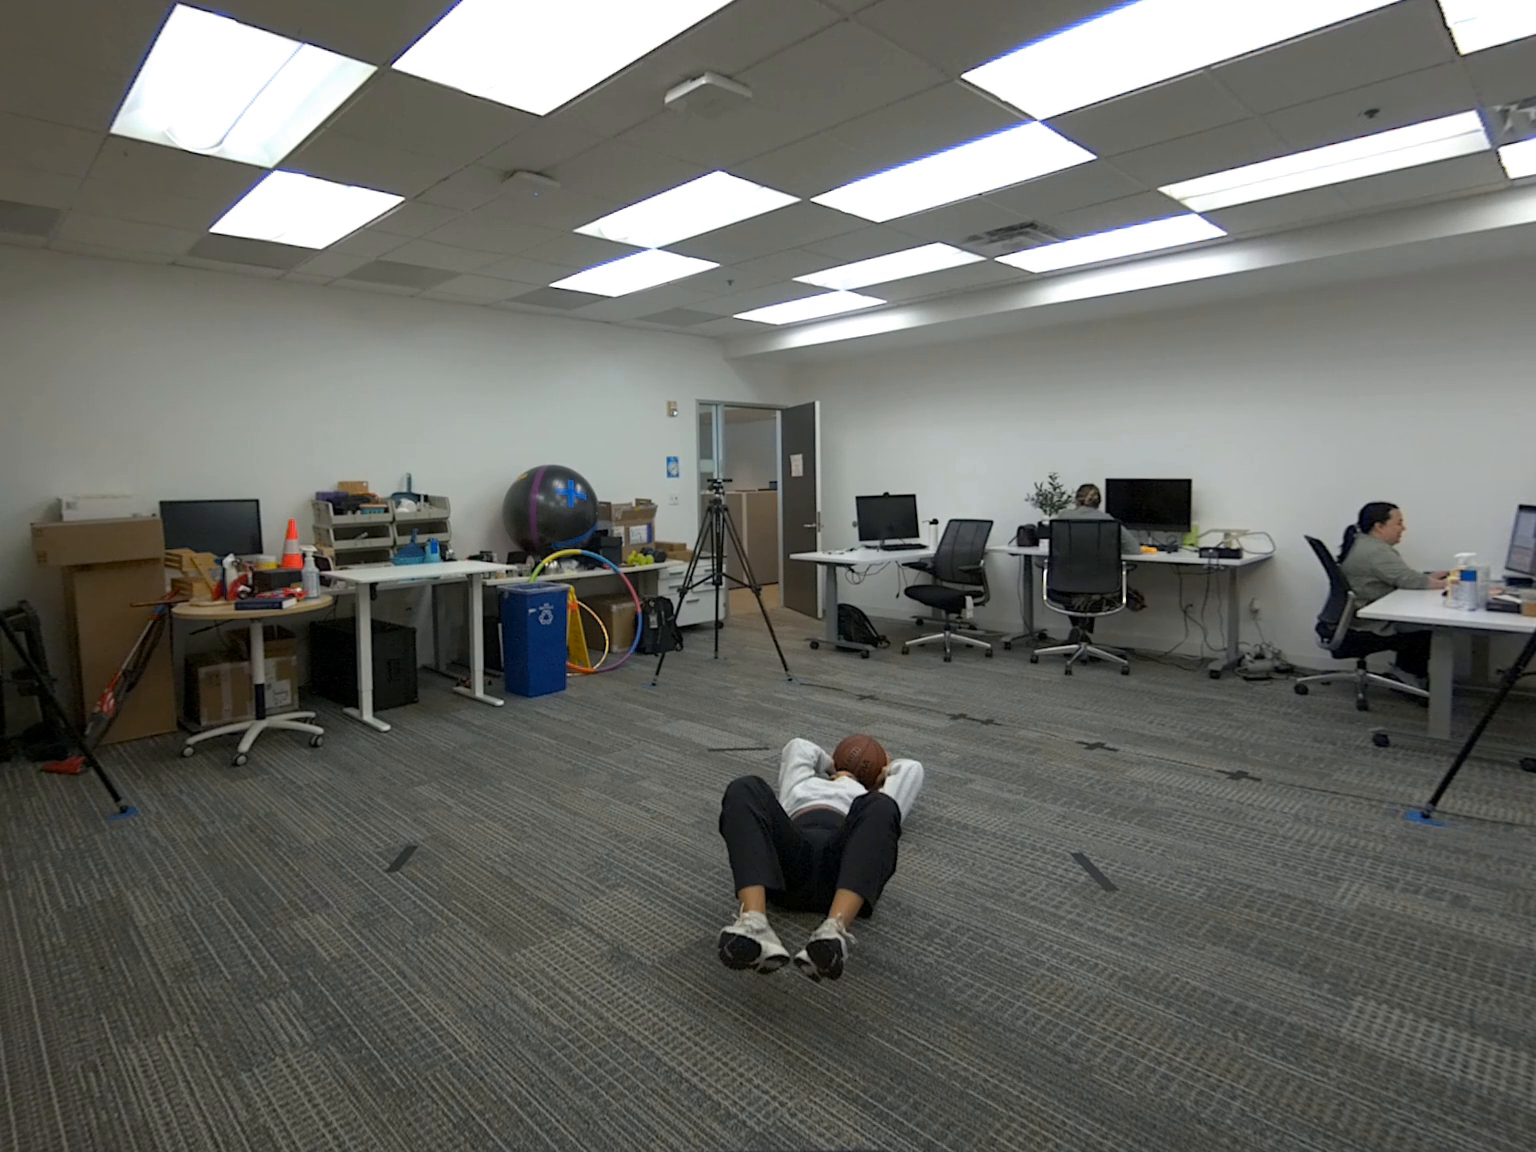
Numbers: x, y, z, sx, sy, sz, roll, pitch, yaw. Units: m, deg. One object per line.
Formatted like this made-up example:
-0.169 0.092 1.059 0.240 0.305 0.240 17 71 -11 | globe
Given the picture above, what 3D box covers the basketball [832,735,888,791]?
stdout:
0.406 0.805 3.771 0.236 0.235 0.236 -4 2 -2 | basketball
